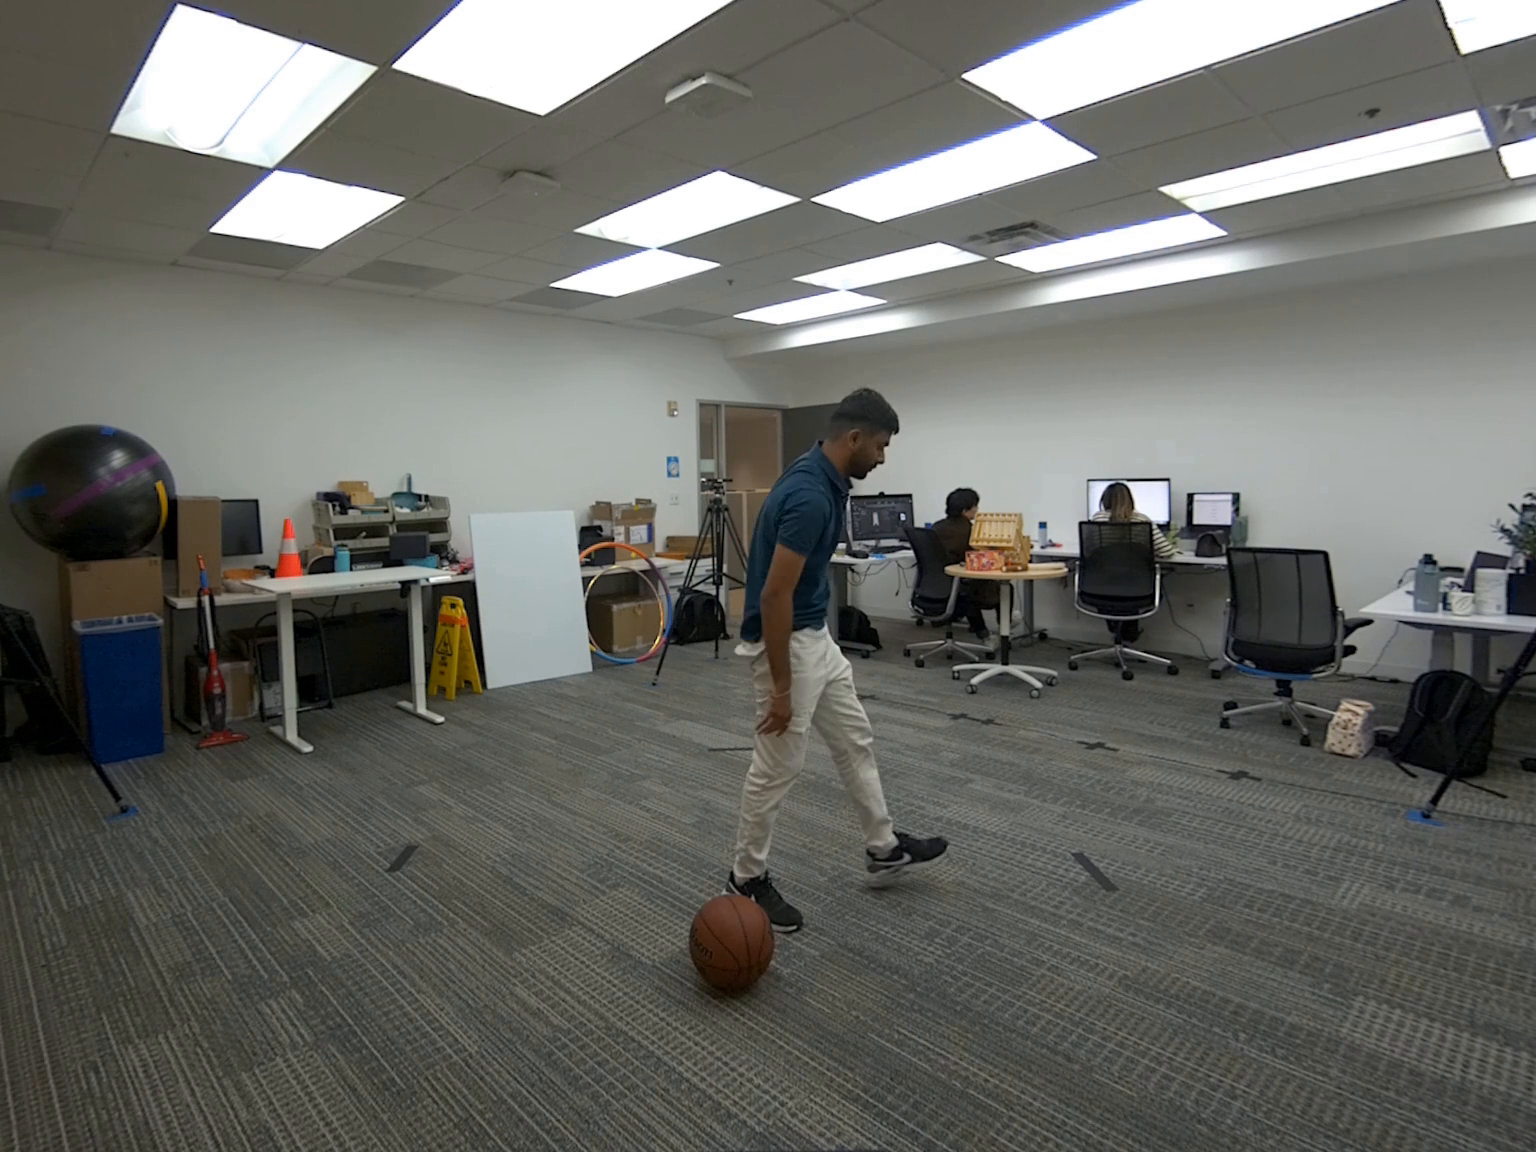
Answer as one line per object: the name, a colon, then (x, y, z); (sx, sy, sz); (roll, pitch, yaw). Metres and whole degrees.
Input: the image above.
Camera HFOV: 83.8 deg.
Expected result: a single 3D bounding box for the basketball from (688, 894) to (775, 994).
basketball: (-0.096, 1.013, 2.372); (0.236, 0.235, 0.237); (-1, 5, -2)
